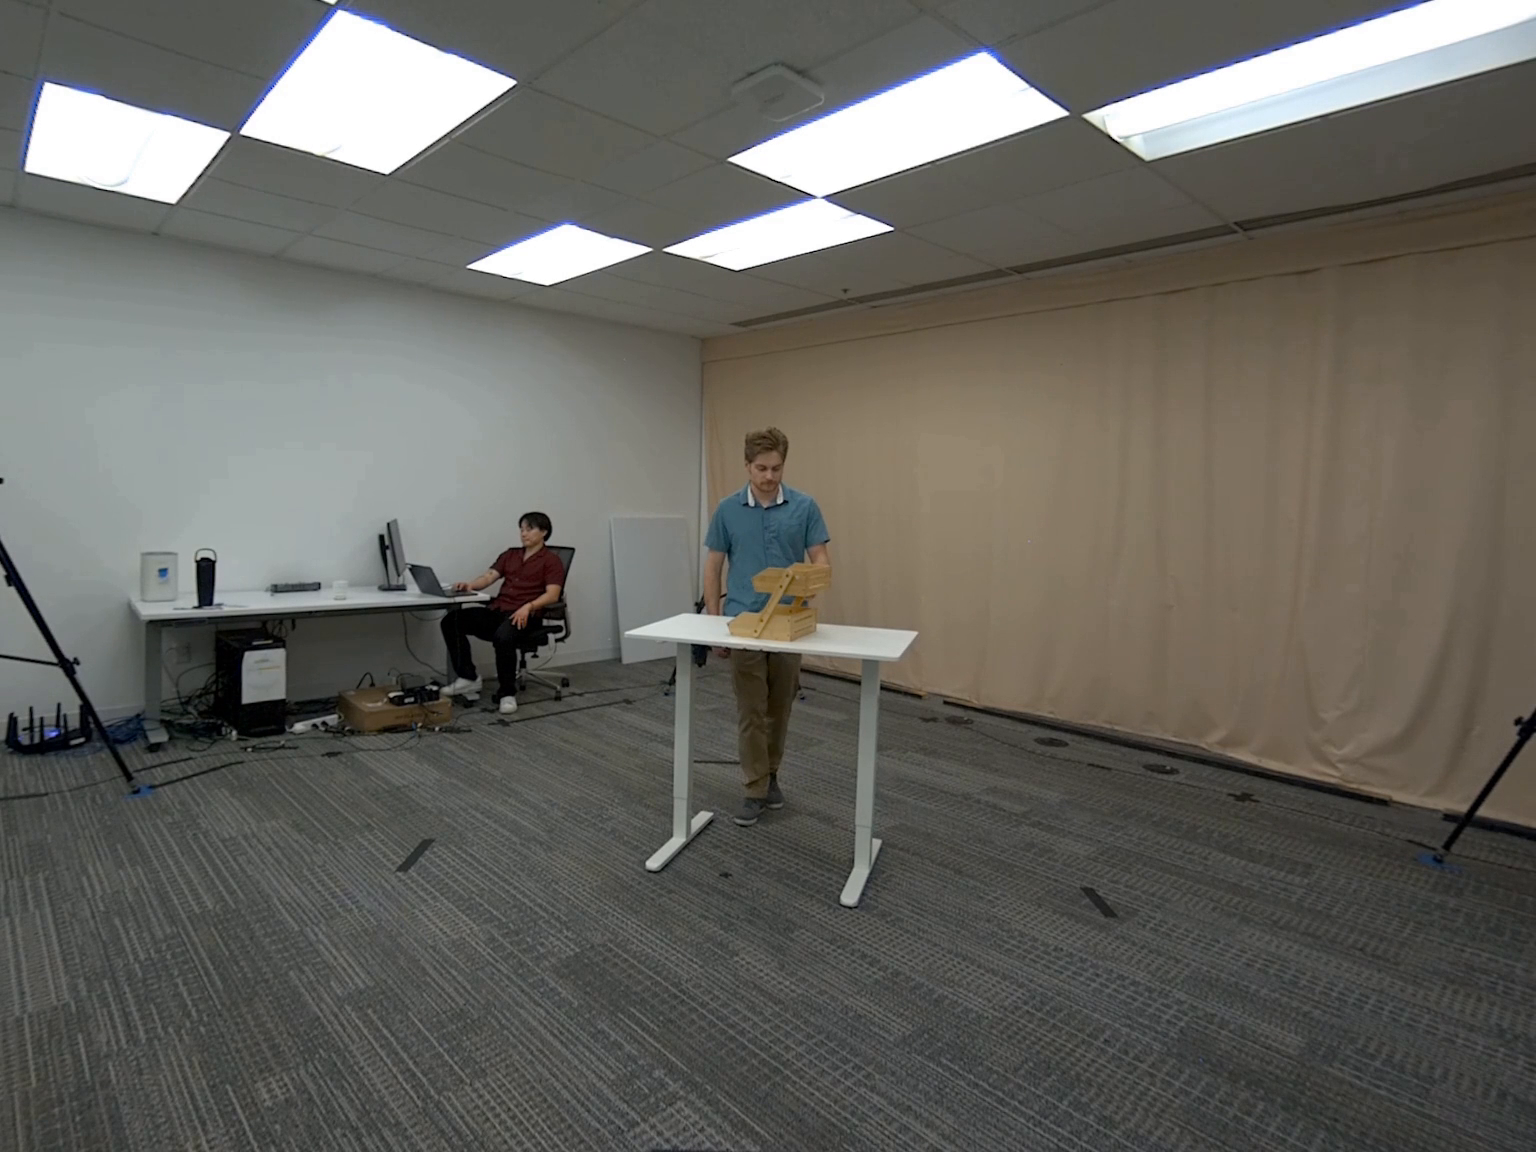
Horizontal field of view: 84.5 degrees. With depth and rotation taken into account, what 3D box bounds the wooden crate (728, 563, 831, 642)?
[{"bbox_3d":[0.035,0.088,3.176,0.307,0.272,0.319,4,5,22],"label":"wooden crate"}]
